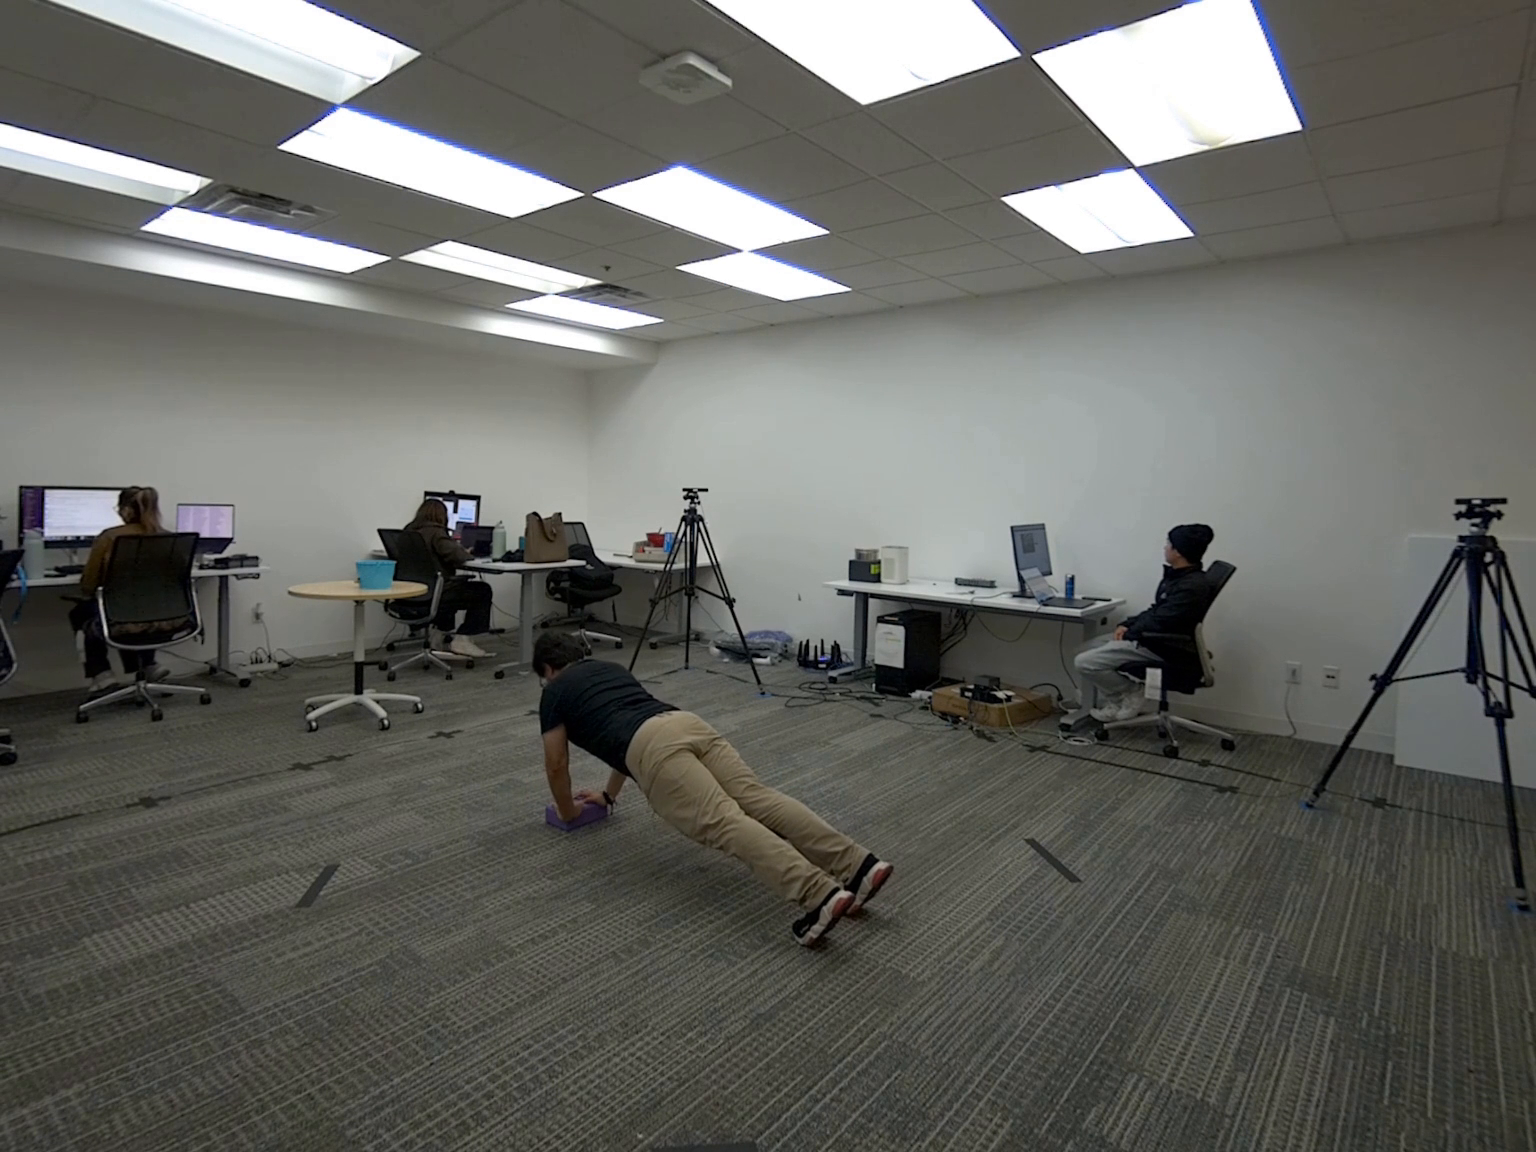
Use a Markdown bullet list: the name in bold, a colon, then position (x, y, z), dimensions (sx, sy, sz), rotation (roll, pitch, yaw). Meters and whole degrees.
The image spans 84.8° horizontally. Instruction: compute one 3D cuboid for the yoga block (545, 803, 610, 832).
- **yoga block**: position (-0.813, 0.982, 3.564), dimensions (0.154, 0.076, 0.223), rotation (2, 5, 37)
